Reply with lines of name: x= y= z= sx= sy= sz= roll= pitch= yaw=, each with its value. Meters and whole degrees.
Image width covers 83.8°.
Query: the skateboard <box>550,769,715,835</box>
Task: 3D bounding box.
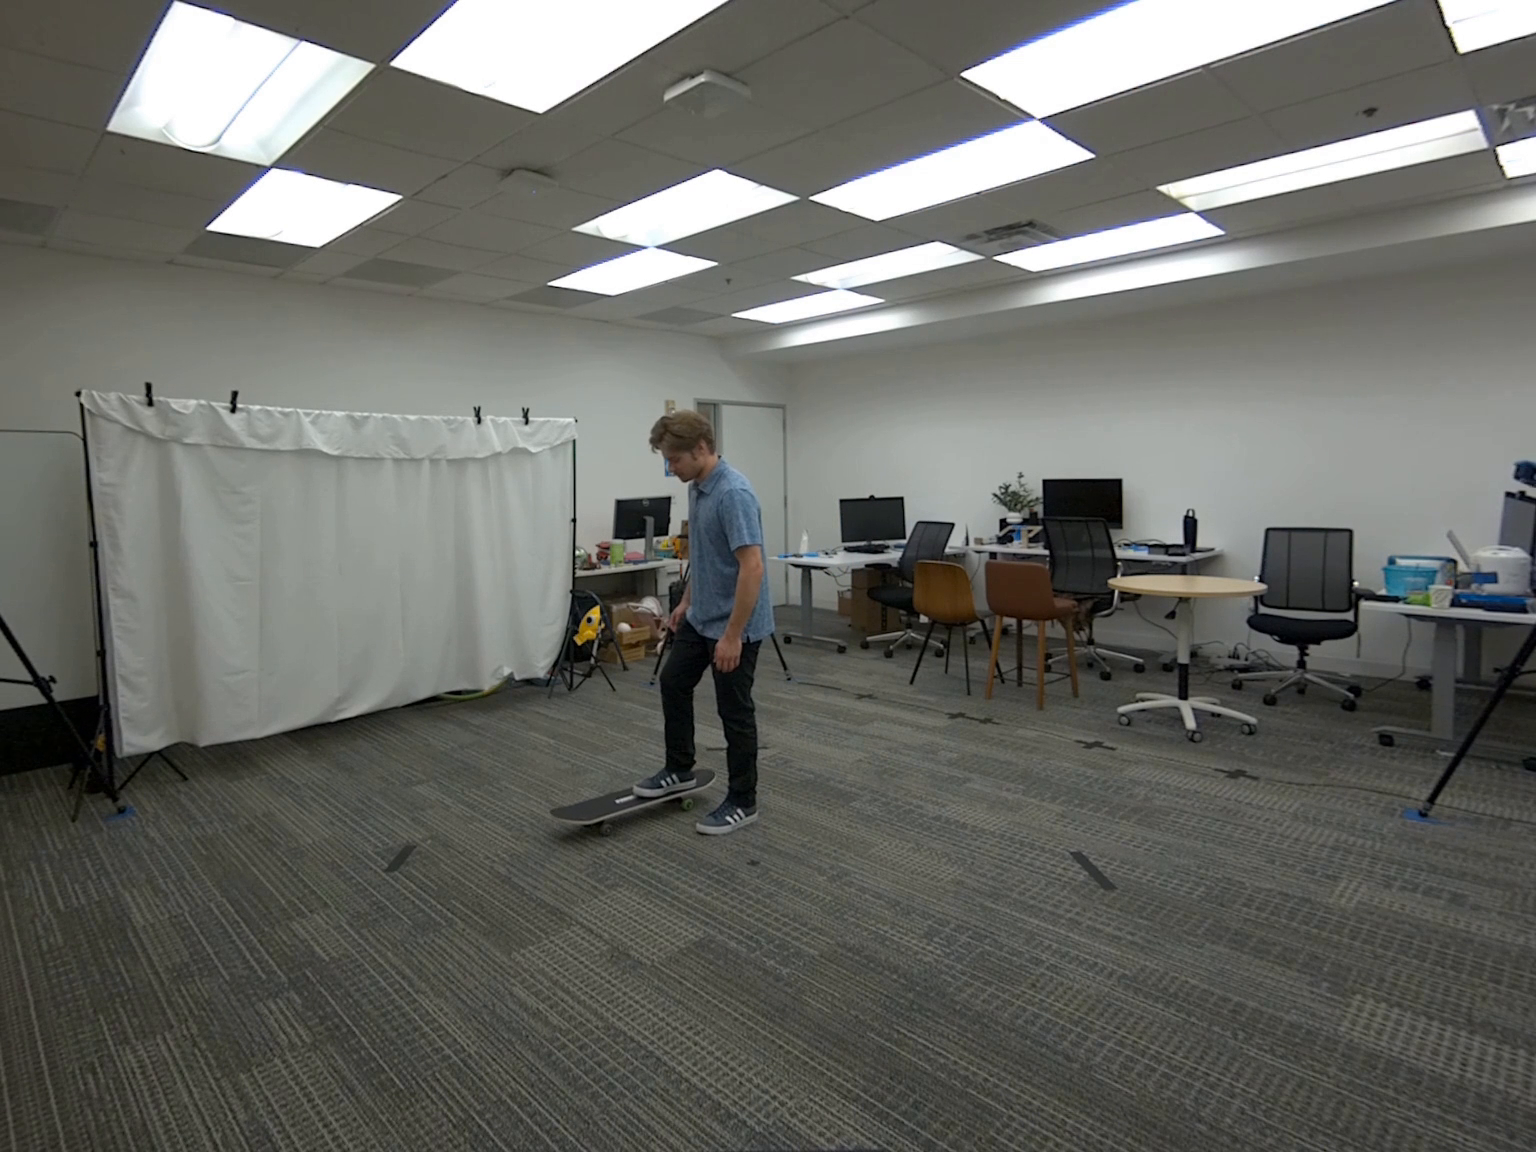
skateboard: x=-0.541 y=0.943 z=3.546 sx=0.765 sy=0.110 sz=0.199 roll=-6 pitch=7 yaw=-40
